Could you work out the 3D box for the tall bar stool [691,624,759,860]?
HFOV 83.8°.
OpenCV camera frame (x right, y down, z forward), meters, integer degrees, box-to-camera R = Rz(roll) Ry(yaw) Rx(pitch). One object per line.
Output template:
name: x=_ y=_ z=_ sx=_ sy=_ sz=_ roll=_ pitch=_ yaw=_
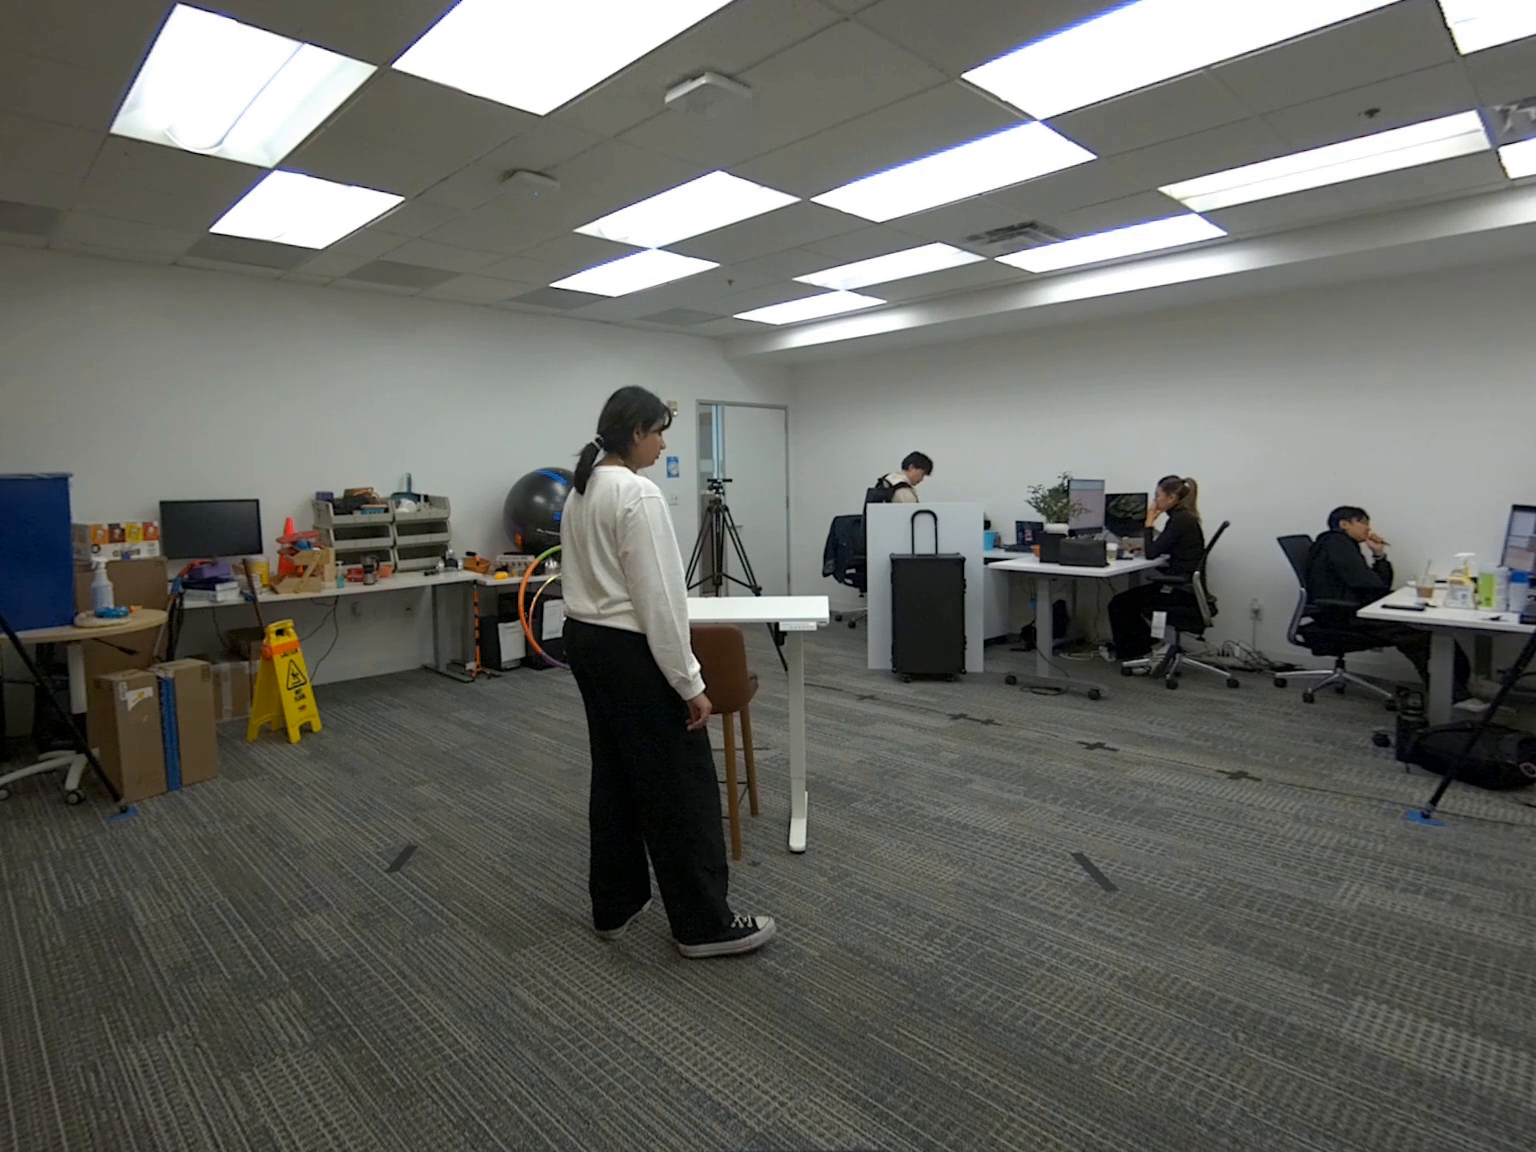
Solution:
tall bar stool: x=-0.281 y=0.590 z=3.353 sx=0.461 sy=0.885 sz=0.466 roll=-1 pitch=6 yaw=8
